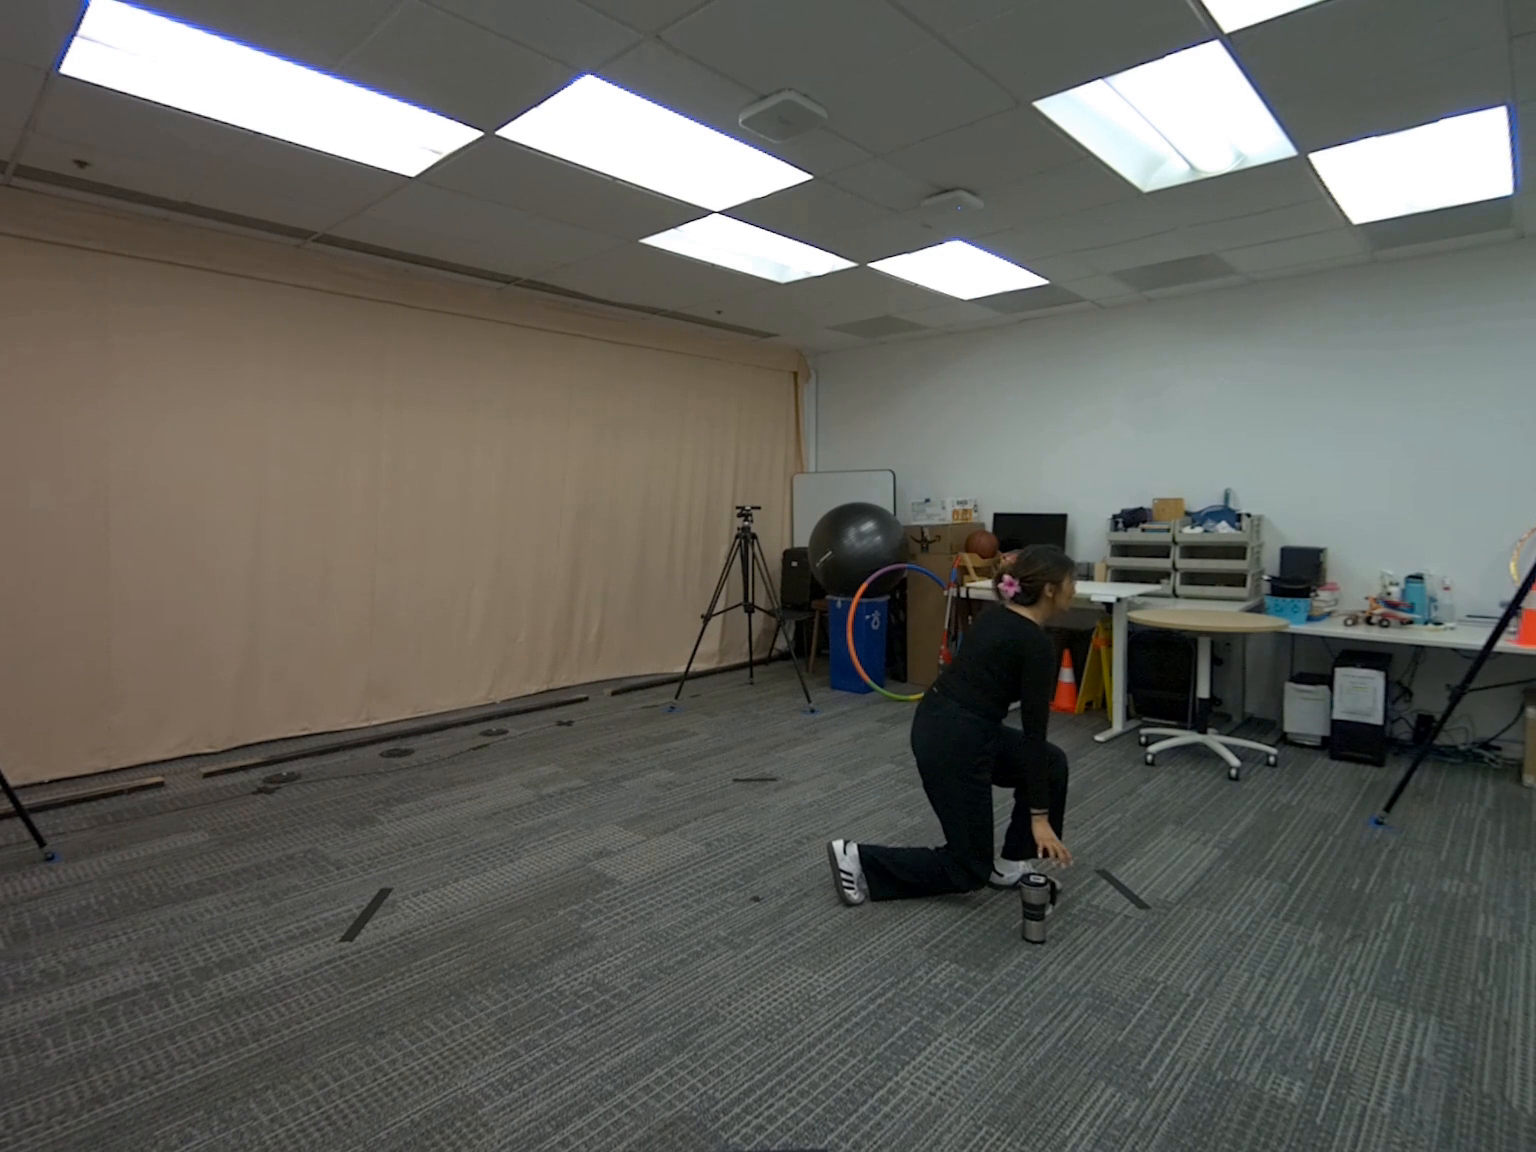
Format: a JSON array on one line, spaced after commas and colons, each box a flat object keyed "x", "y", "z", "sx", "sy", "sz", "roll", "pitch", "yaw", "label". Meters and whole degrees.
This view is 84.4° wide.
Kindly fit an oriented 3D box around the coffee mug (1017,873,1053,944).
[{"x": 0.882, "y": 1.067, "z": 2.689, "sx": 0.123, "sy": 0.203, "sz": 0.087, "roll": -1, "pitch": 1, "yaw": 6, "label": "coffee mug"}]
